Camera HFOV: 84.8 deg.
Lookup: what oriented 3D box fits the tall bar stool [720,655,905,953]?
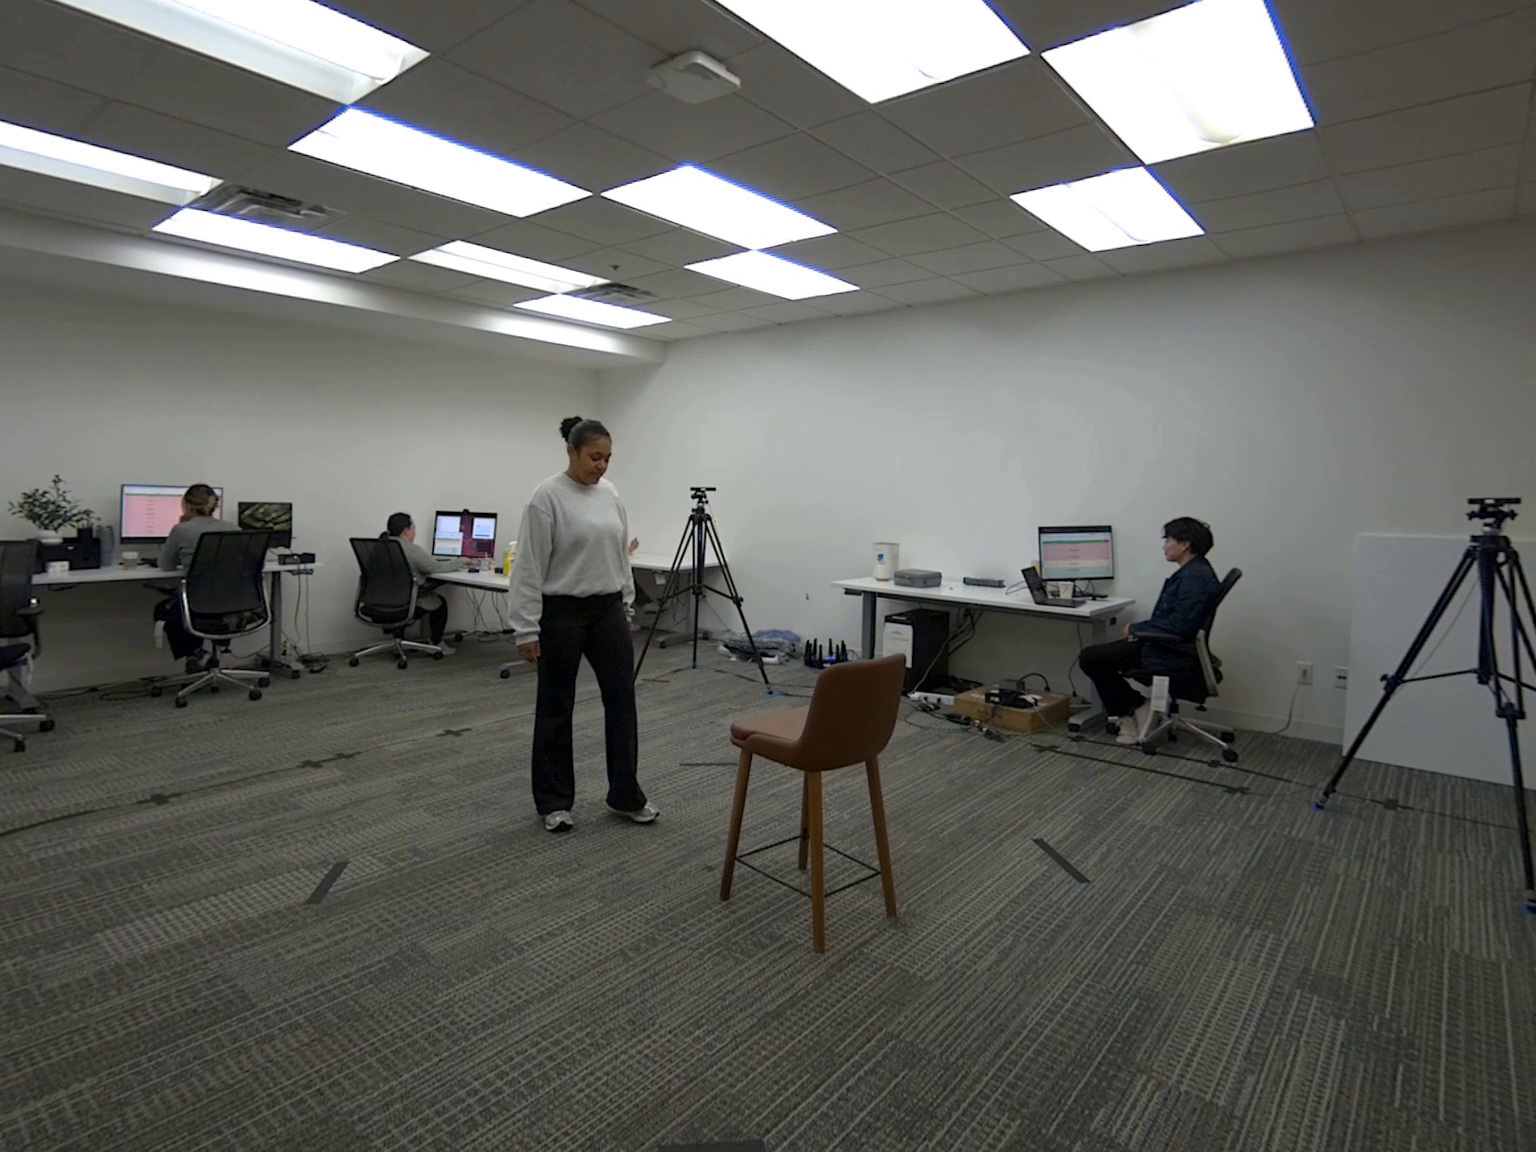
[{"bbox_3d":[0.148,0.668,2.815,0.442,0.886,0.484,-1,6,-42],"label":"tall bar stool"}]
